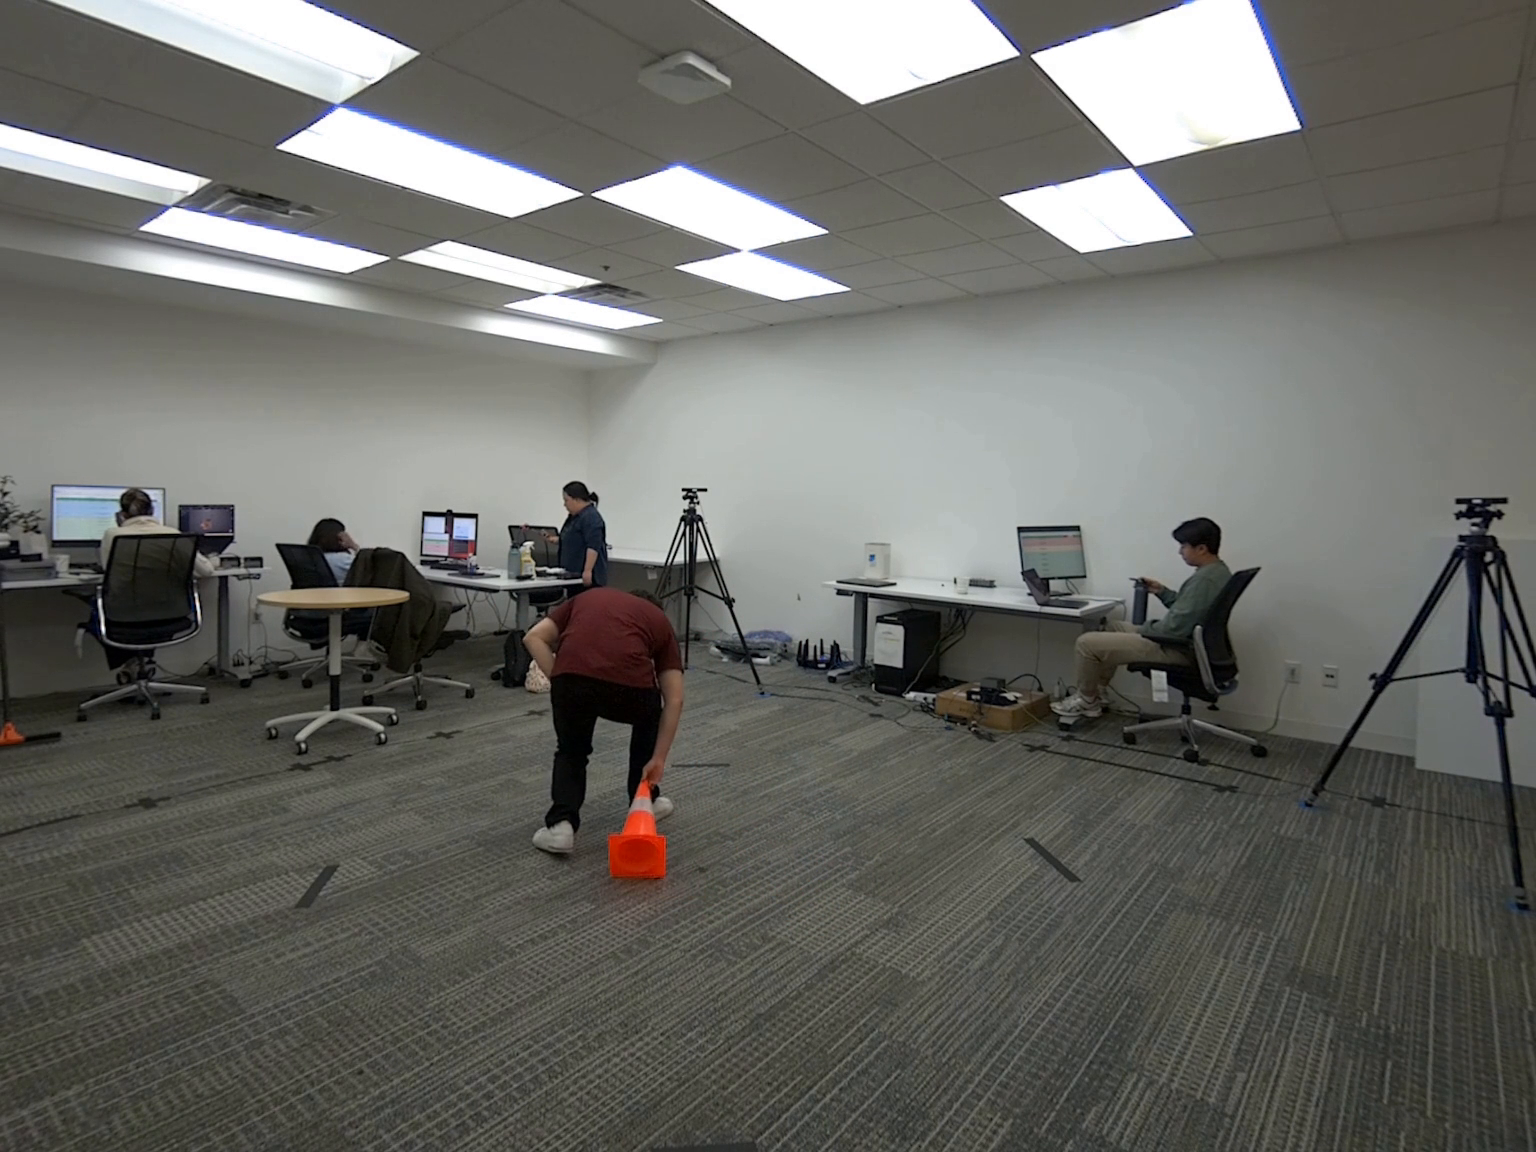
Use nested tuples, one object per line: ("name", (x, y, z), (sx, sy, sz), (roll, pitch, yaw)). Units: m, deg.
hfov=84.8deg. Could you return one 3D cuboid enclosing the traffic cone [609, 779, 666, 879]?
("traffic cone", (-0.494, 0.899, 3.166), (0.204, 0.199, 0.393), (-4, 25, -4))
